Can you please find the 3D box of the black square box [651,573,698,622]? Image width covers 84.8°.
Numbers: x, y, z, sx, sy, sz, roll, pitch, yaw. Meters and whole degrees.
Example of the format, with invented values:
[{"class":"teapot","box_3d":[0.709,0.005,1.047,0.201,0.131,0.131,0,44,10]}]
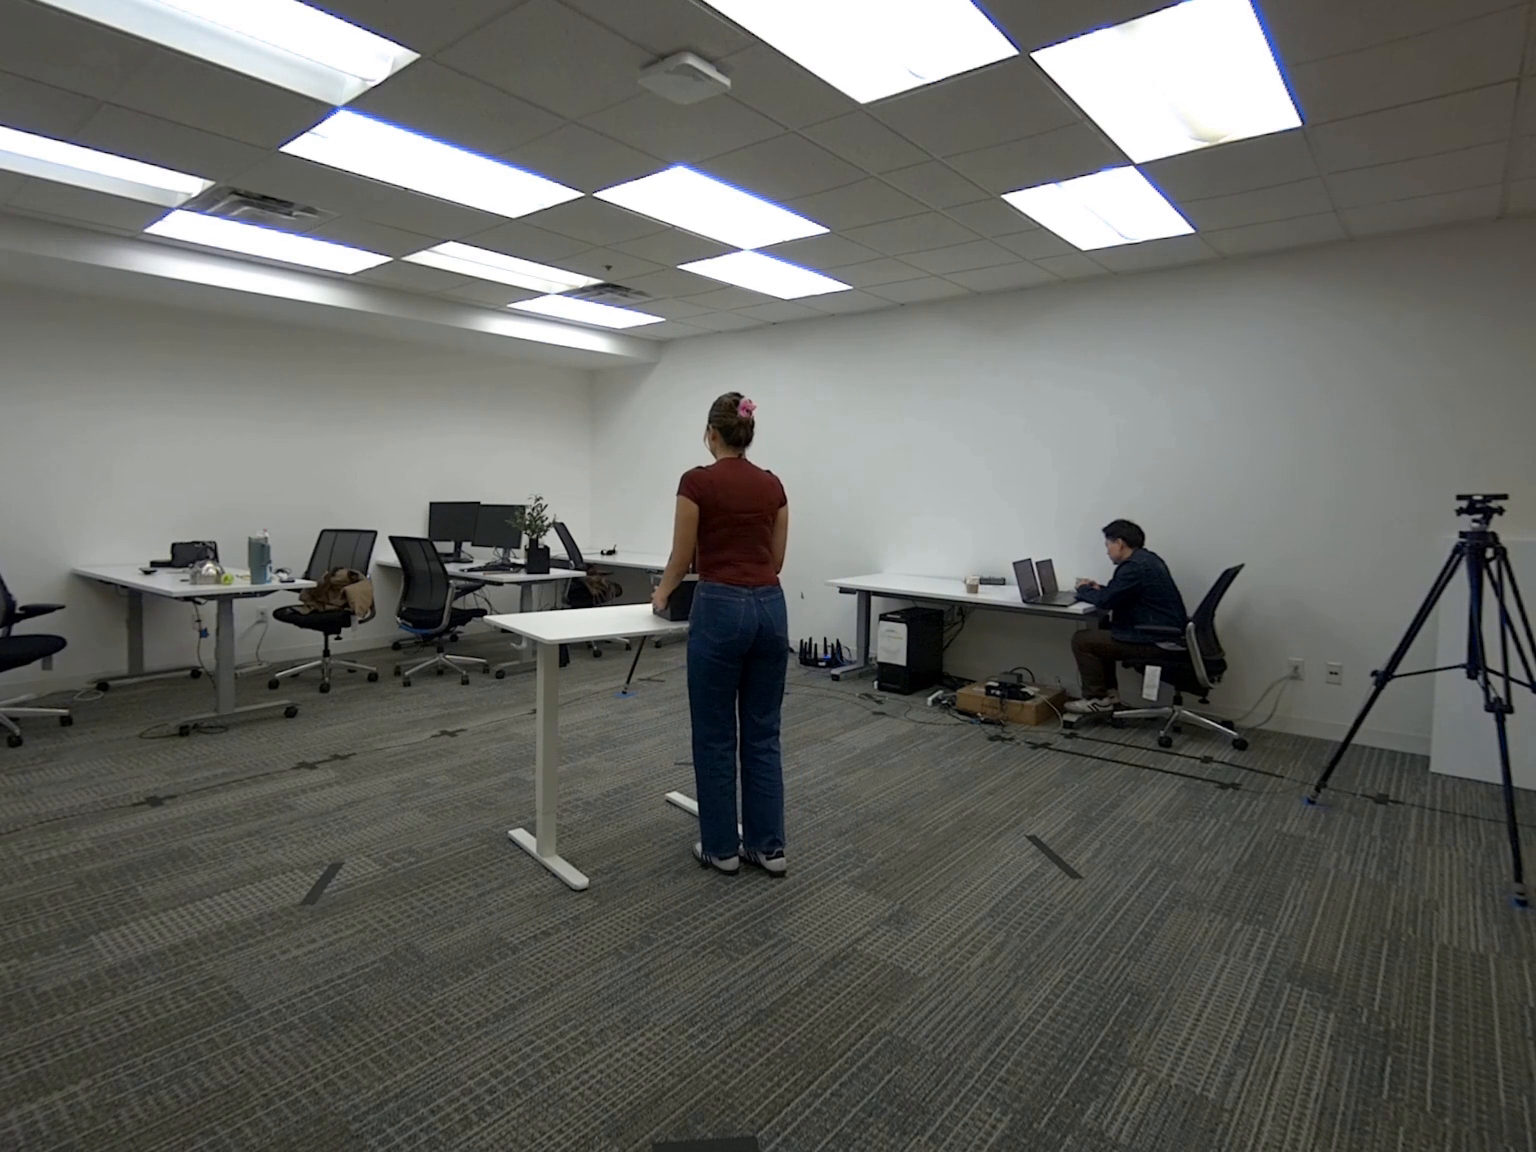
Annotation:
[{"class":"black square box","box_3d":[-0.324,0.080,3.362,0.223,0.155,0.223,-1,5,-24]}]
